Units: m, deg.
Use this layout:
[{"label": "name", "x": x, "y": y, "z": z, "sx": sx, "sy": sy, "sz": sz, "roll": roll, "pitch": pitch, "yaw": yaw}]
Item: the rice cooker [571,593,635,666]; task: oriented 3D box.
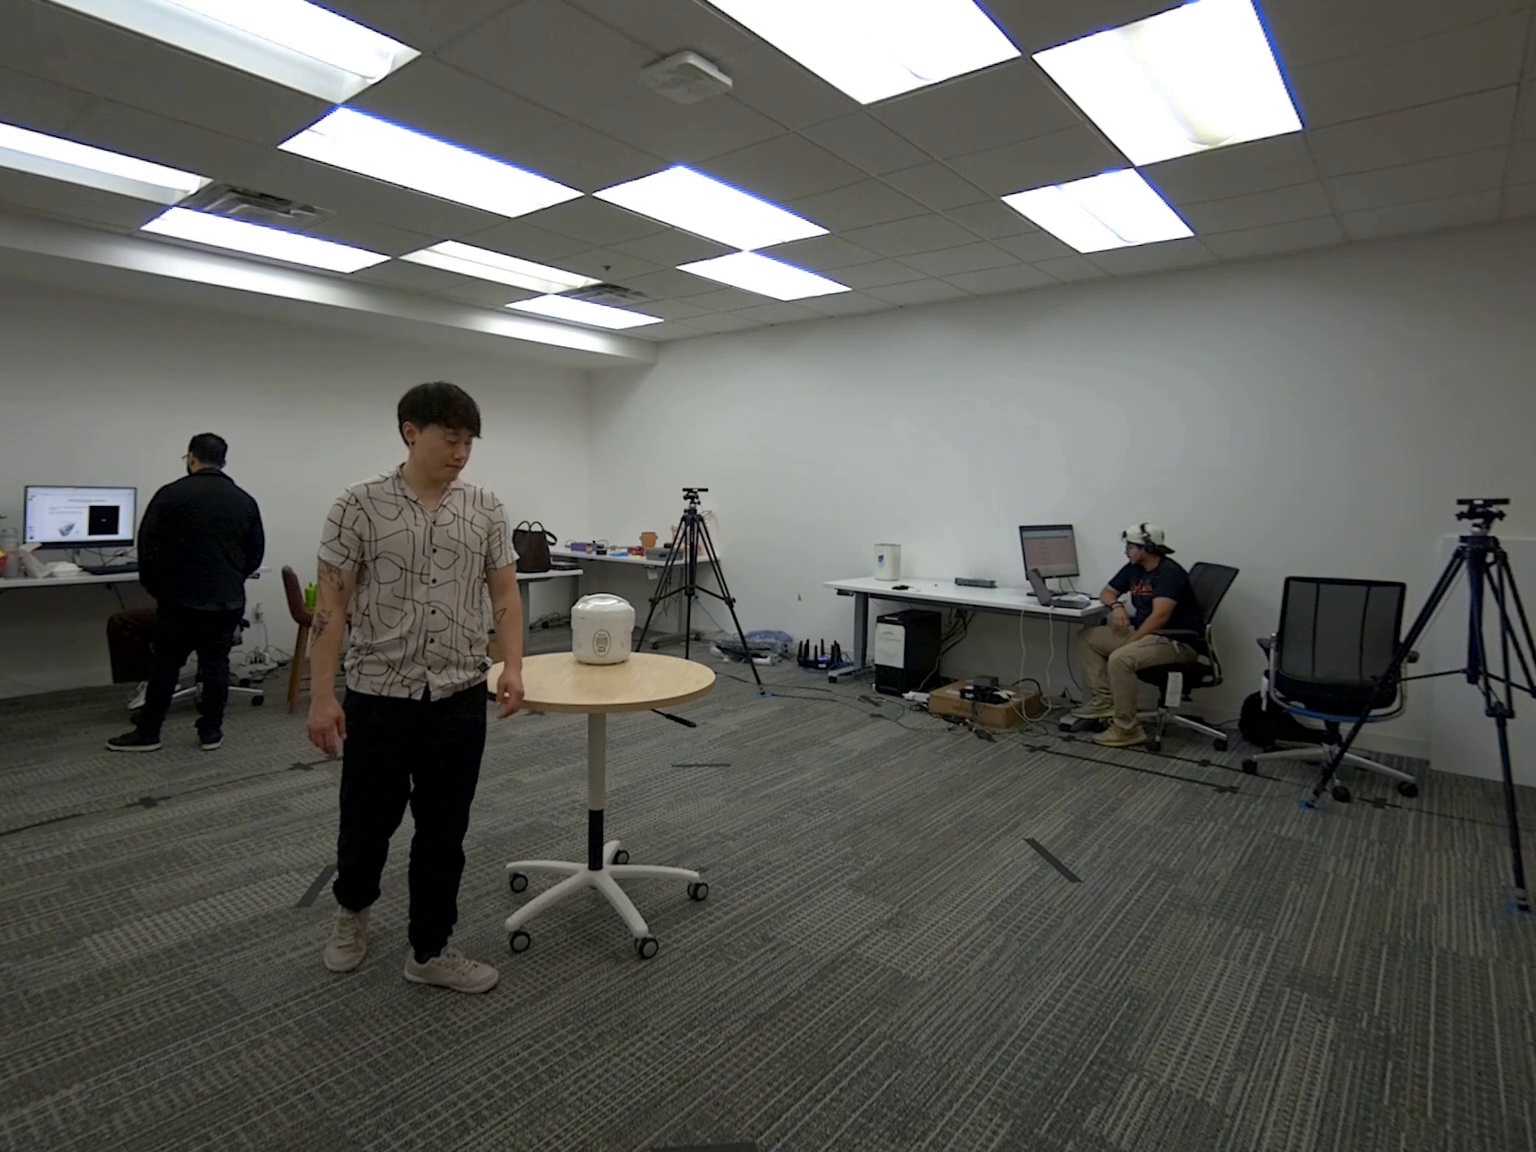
[{"label": "rice cooker", "x": -0.586, "y": 0.175, "z": 2.969, "sx": 0.219, "sy": 0.232, "sz": 0.220, "roll": 0, "pitch": 4, "yaw": -9}]
